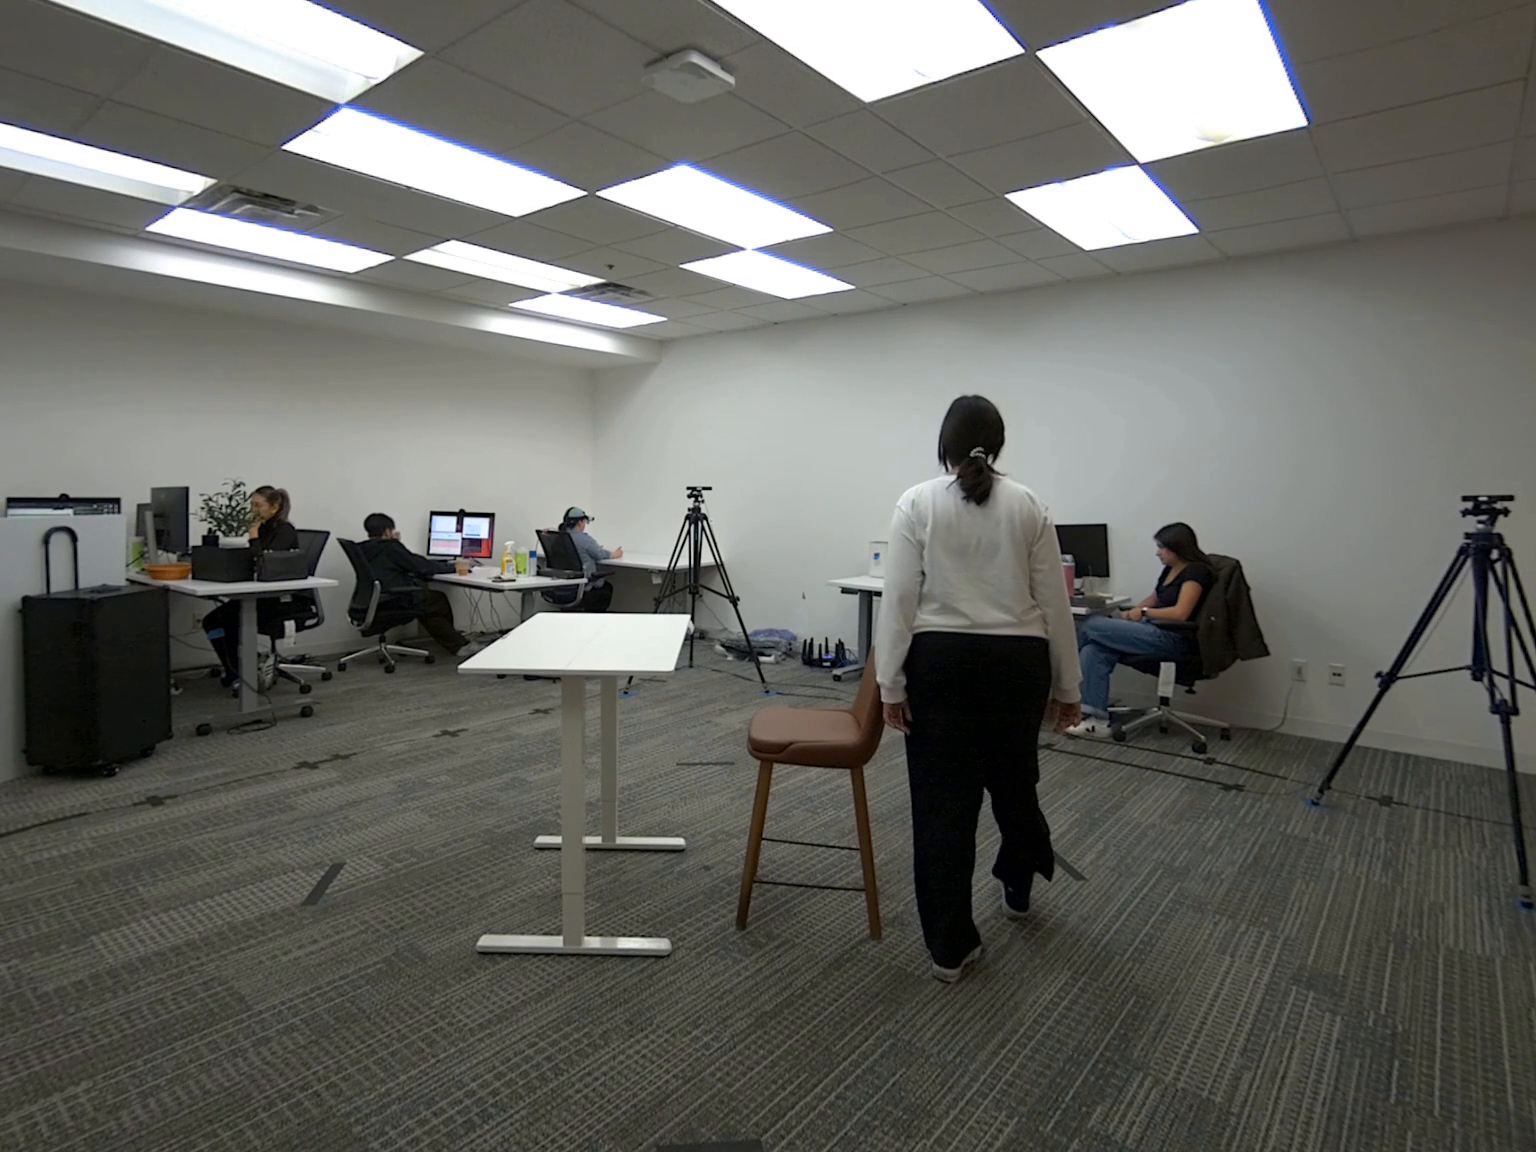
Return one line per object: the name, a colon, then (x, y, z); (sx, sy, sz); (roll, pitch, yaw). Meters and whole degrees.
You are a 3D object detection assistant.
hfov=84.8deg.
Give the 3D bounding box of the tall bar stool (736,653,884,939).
tall bar stool: (0.159, 0.667, 2.824); (0.472, 0.887, 0.454); (4, 4, 7)
